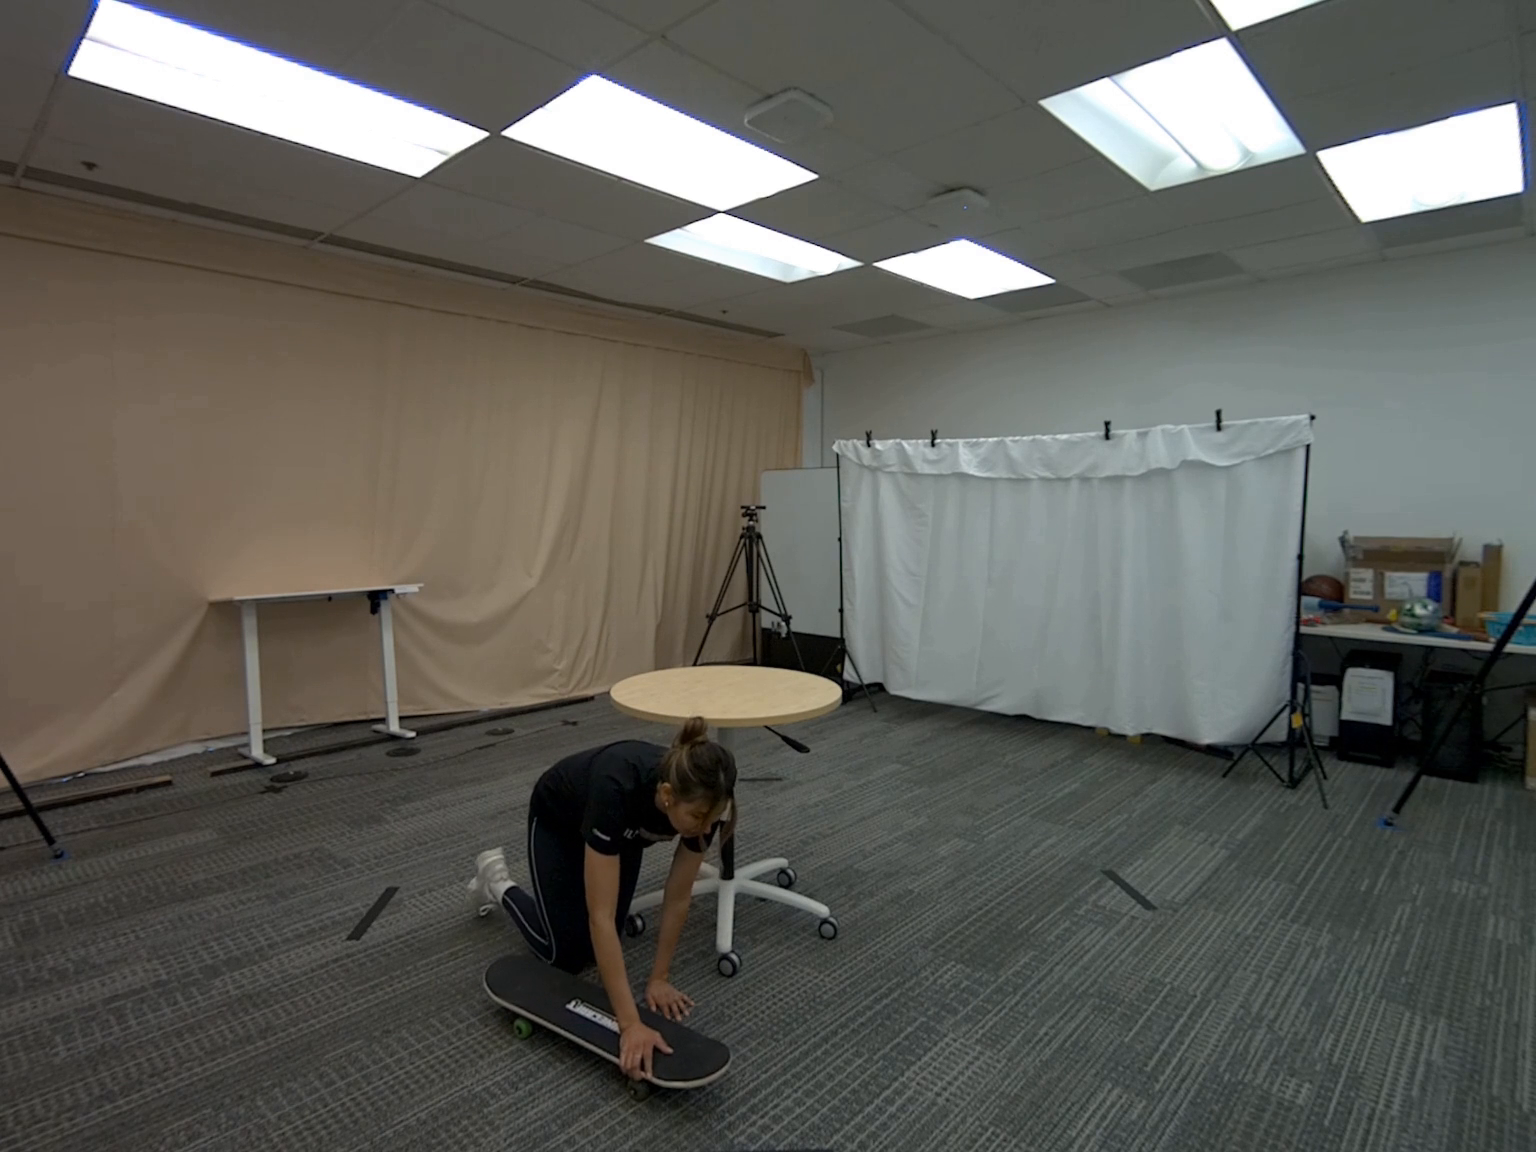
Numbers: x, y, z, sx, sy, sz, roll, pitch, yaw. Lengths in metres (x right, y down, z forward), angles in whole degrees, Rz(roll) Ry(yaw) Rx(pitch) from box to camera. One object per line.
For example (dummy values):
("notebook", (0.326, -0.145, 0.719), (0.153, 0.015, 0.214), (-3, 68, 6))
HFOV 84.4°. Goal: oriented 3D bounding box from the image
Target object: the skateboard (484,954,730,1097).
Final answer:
("skateboard", (-0.430, 1.152, 2.160), (0.810, 0.110, 0.188), (3, 8, 35))
